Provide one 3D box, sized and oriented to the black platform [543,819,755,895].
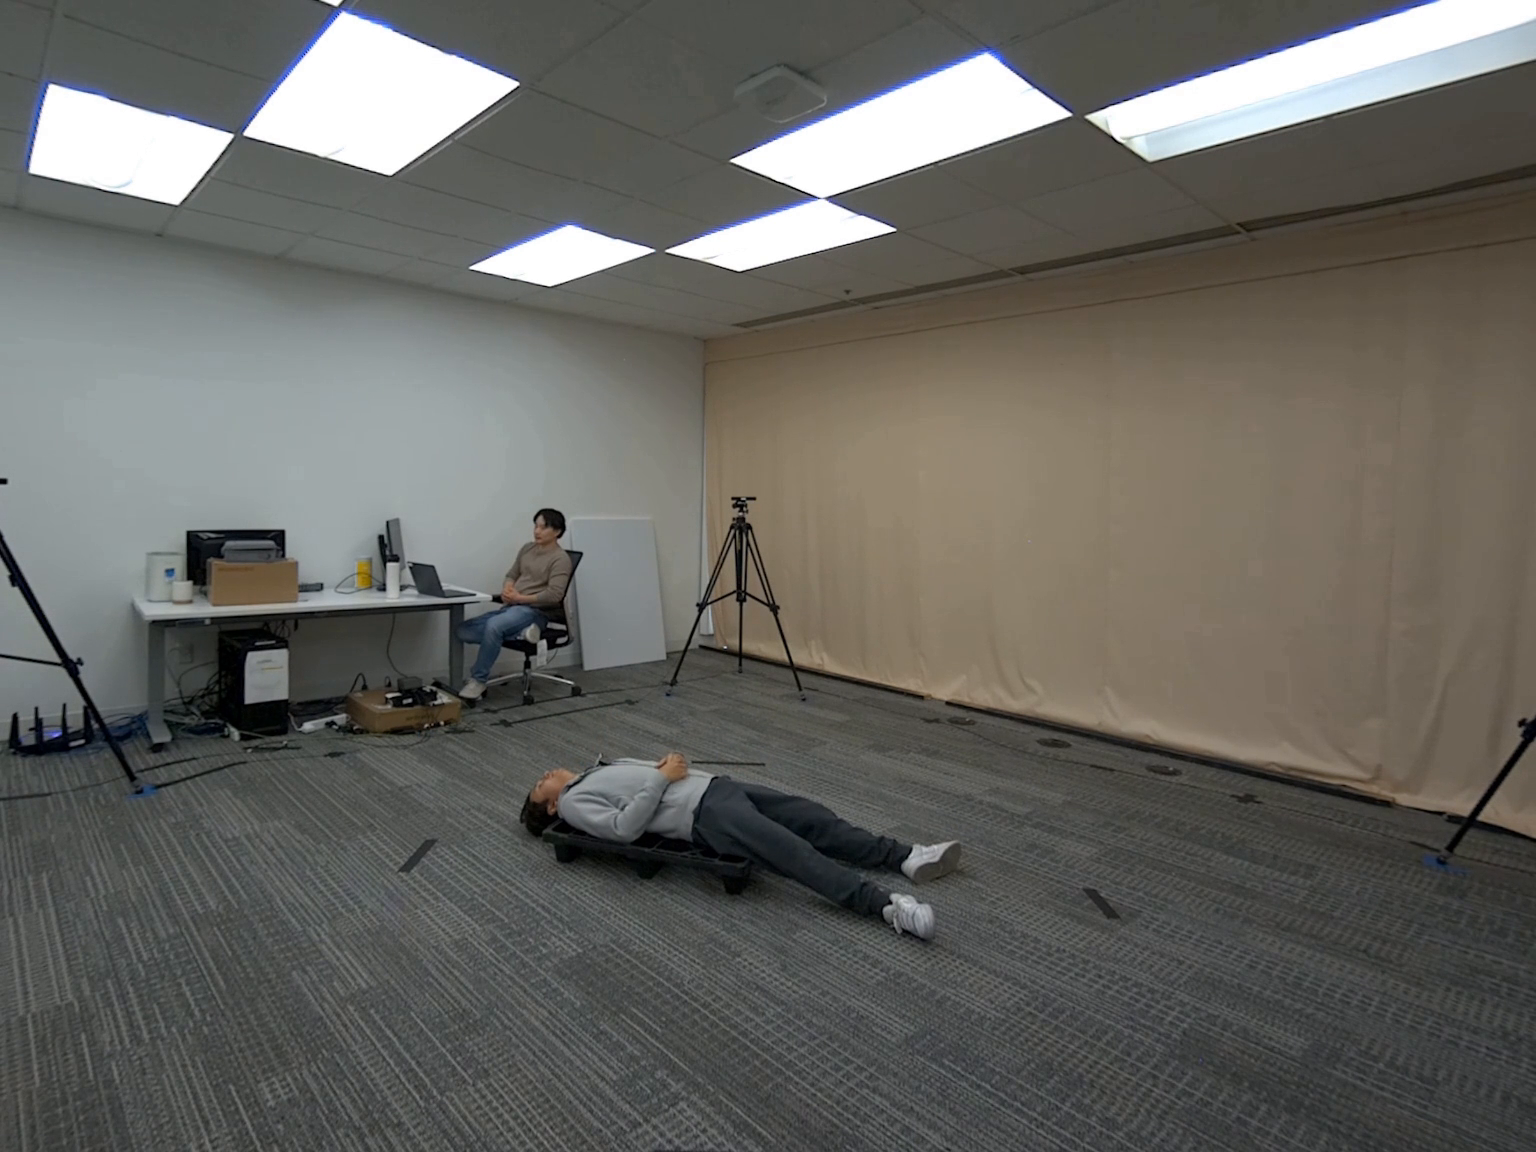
[{"bbox_3d":[-0.388,1.012,3.288,0.818,0.143,0.597,1,5,19],"label":"black platform"}]
